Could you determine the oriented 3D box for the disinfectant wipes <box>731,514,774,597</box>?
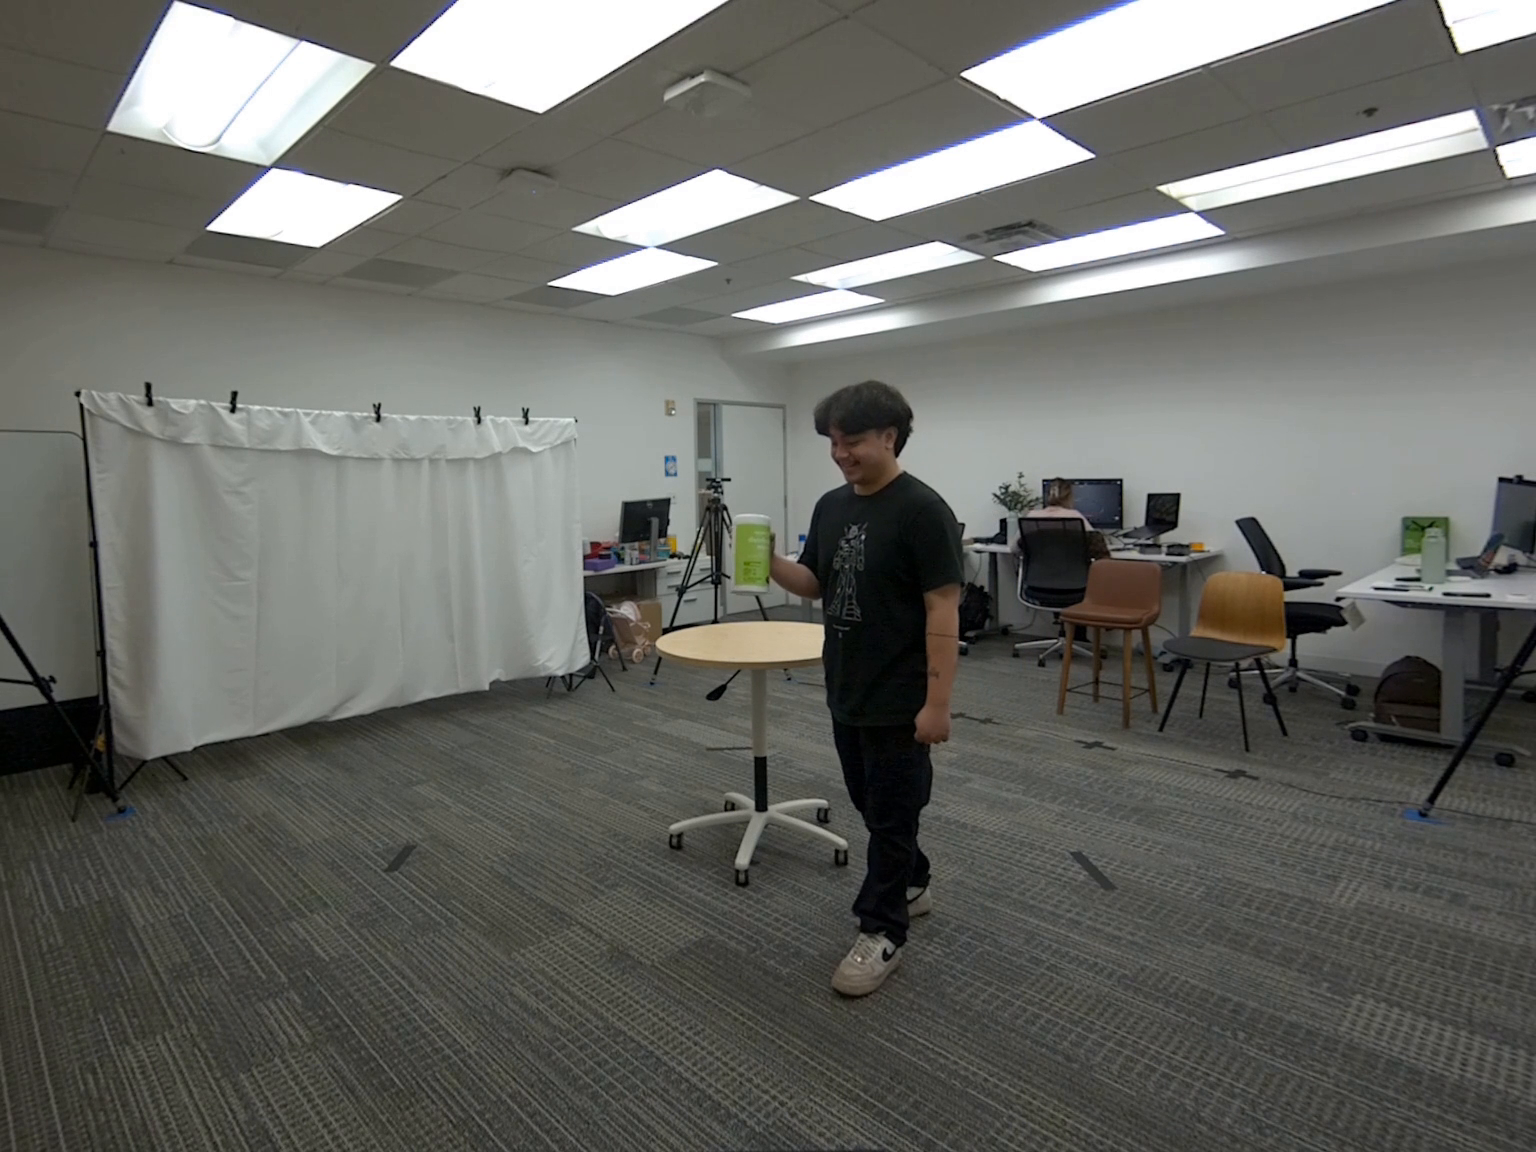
[{"bbox_3d":[-0.055,-0.053,2.359,0.118,0.219,0.117,2,-7,-1],"label":"disinfectant wipes"}]
